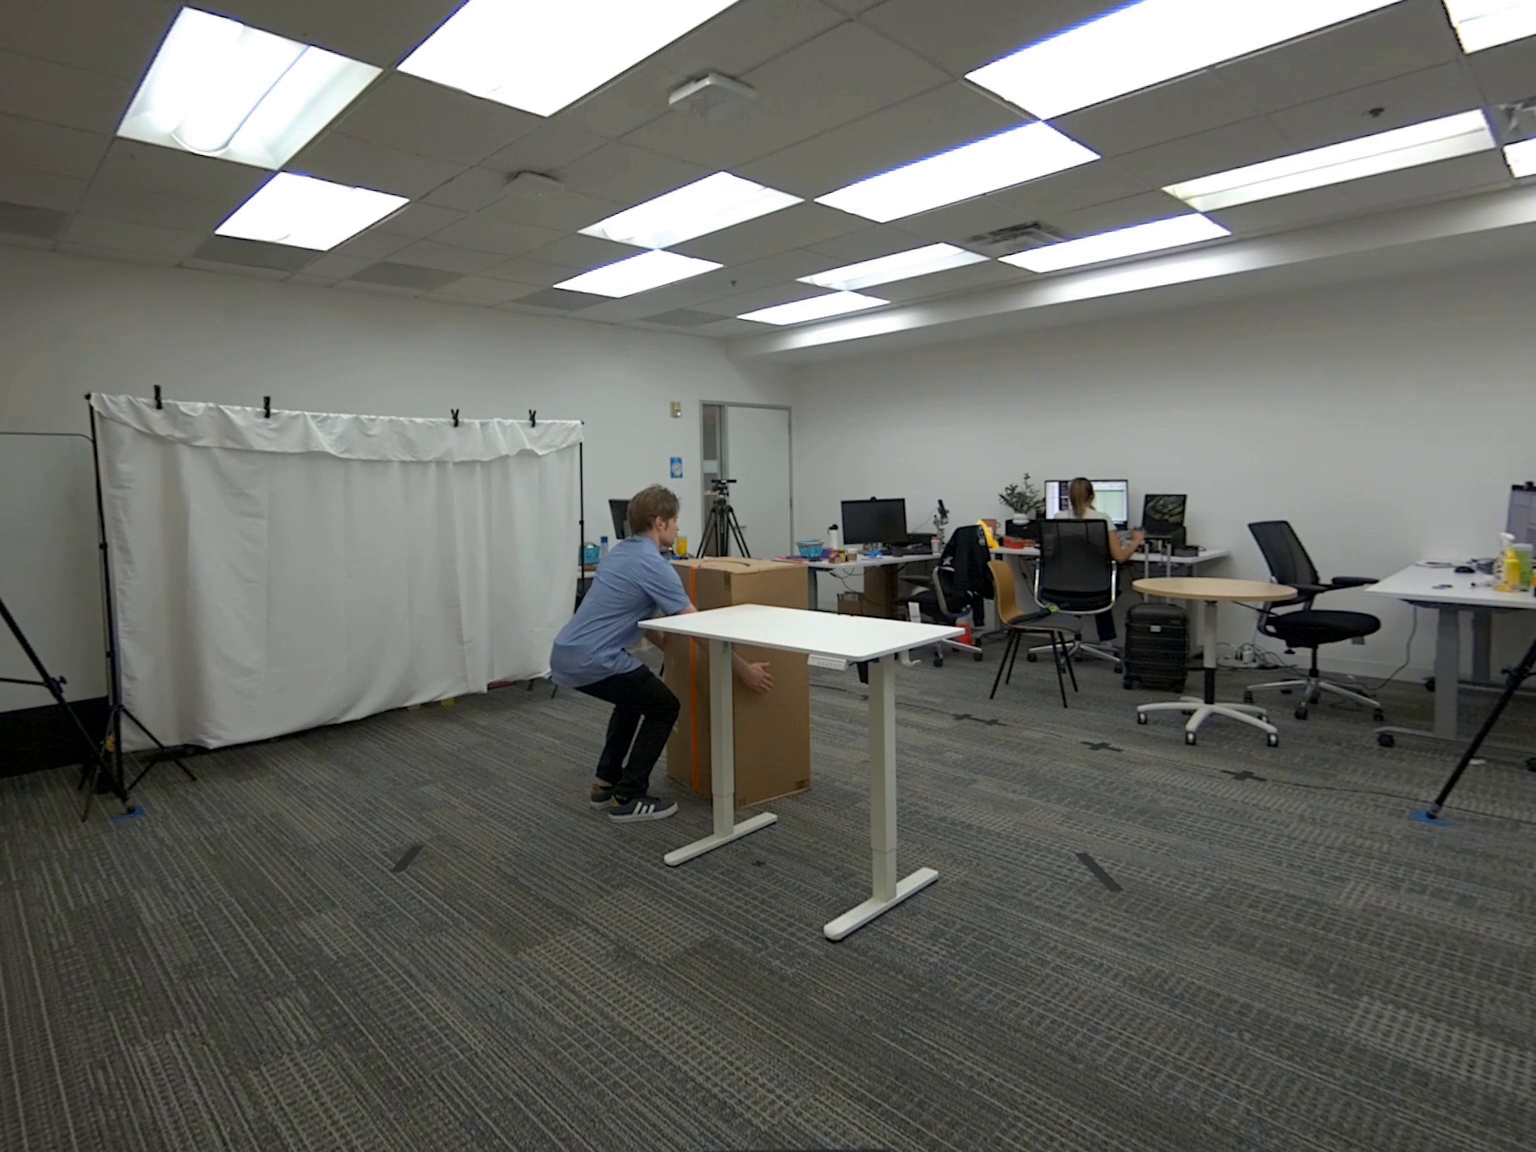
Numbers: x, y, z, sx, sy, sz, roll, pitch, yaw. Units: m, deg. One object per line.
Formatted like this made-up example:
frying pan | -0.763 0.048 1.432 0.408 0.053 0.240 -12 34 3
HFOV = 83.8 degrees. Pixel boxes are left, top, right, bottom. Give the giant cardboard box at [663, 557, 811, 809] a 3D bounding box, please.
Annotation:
giant cardboard box | -0.154 0.448 3.933 0.415 1.022 0.594 -4 5 -37
